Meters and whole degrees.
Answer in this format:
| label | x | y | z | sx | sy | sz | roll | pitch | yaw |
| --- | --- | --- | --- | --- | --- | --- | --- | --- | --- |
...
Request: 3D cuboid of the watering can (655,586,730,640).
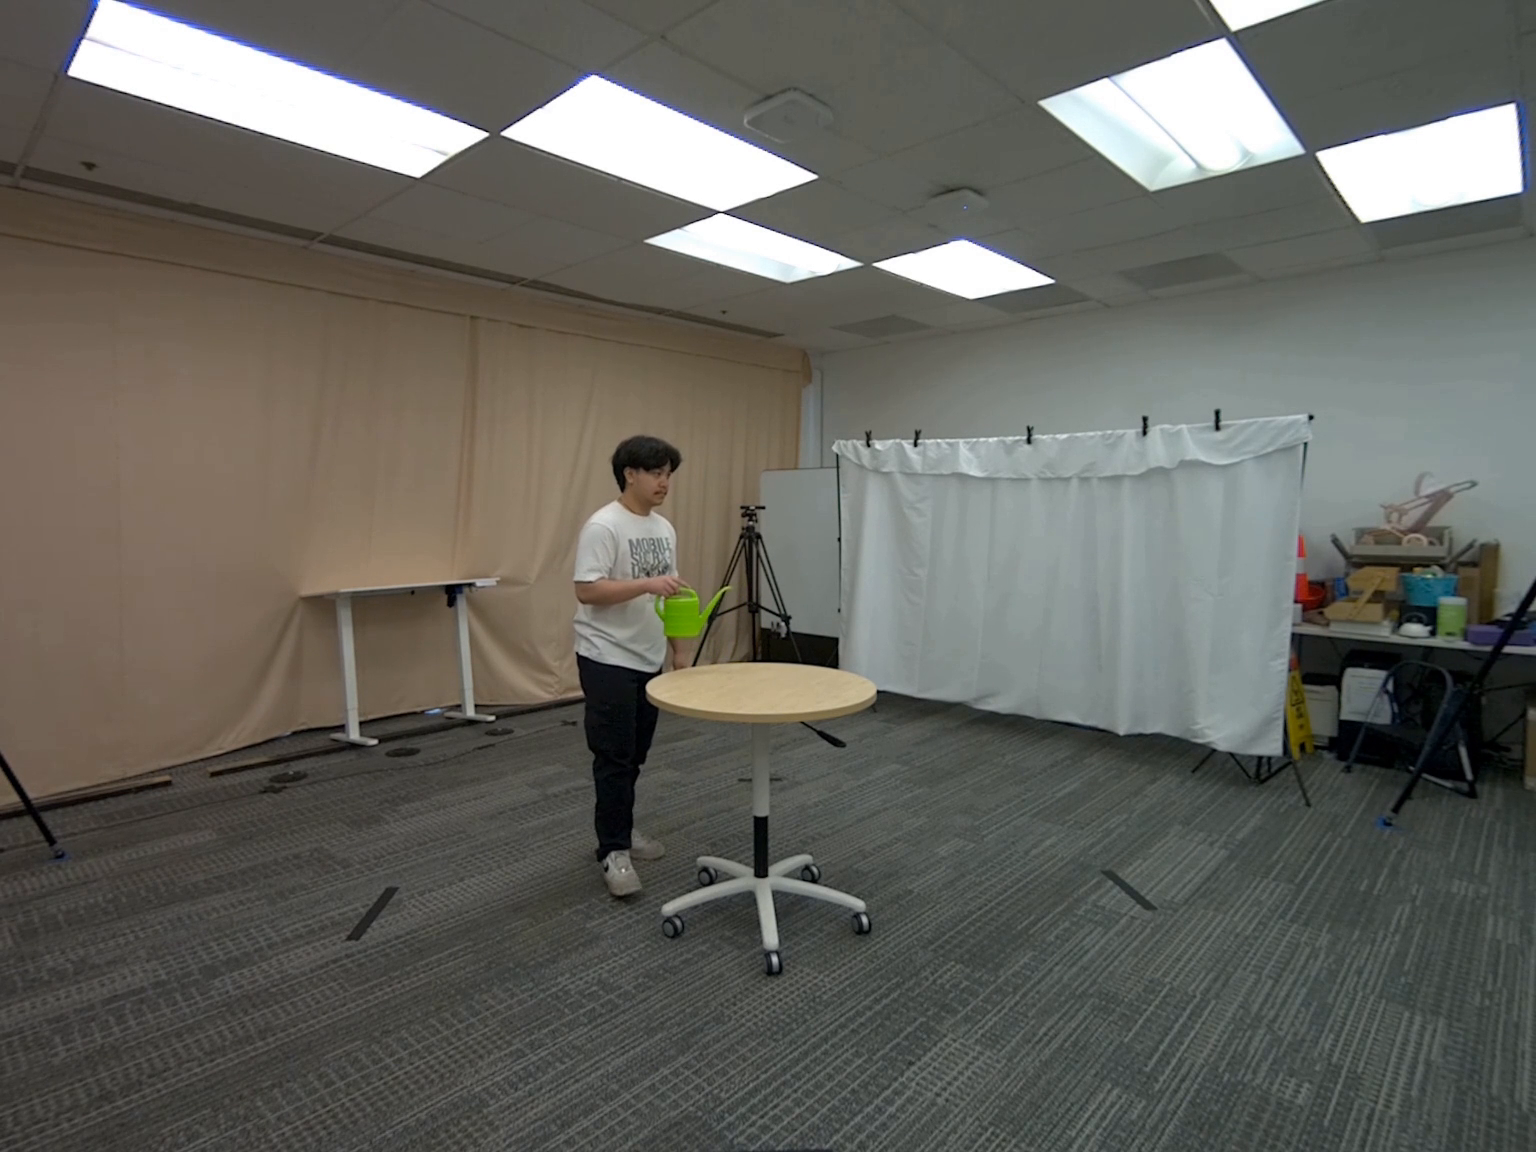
| label | x | y | z | sx | sy | sz | roll | pitch | yaw |
| --- | --- | --- | --- | --- | --- | --- | --- | --- | --- |
| watering can | -0.274 | 0.131 | 3.040 | 0.279 | 0.176 | 0.098 | 0 | 7 | 4 |
